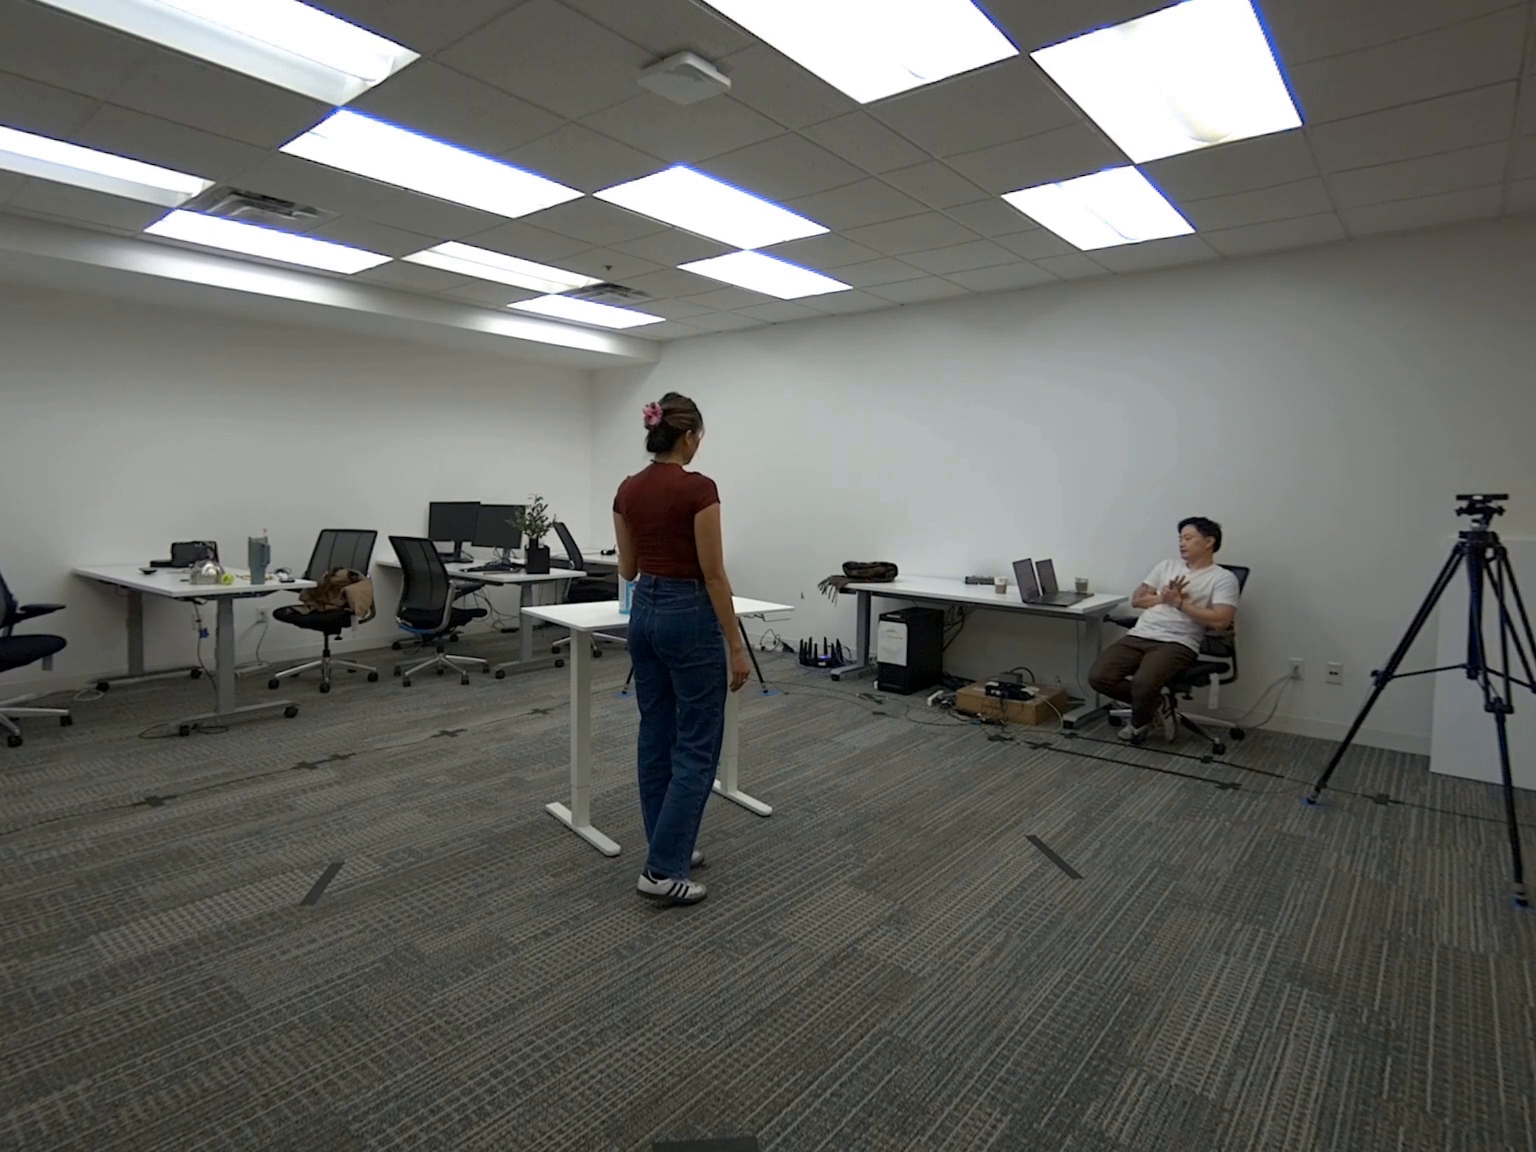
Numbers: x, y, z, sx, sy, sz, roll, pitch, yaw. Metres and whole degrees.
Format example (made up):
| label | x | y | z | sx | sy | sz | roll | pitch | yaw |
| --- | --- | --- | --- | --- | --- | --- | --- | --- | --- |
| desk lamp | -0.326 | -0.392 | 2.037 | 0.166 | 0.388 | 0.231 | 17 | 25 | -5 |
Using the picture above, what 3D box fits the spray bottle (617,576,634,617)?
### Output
| label | x | y | z | sx | sy | sz | roll | pitch | yaw |
| --- | --- | --- | --- | --- | --- | --- | --- | --- | --- |
| spray bottle | -0.574 | 0.000 | 3.436 | 0.087 | 0.297 | 0.090 | 1 | 1 | 1 |
